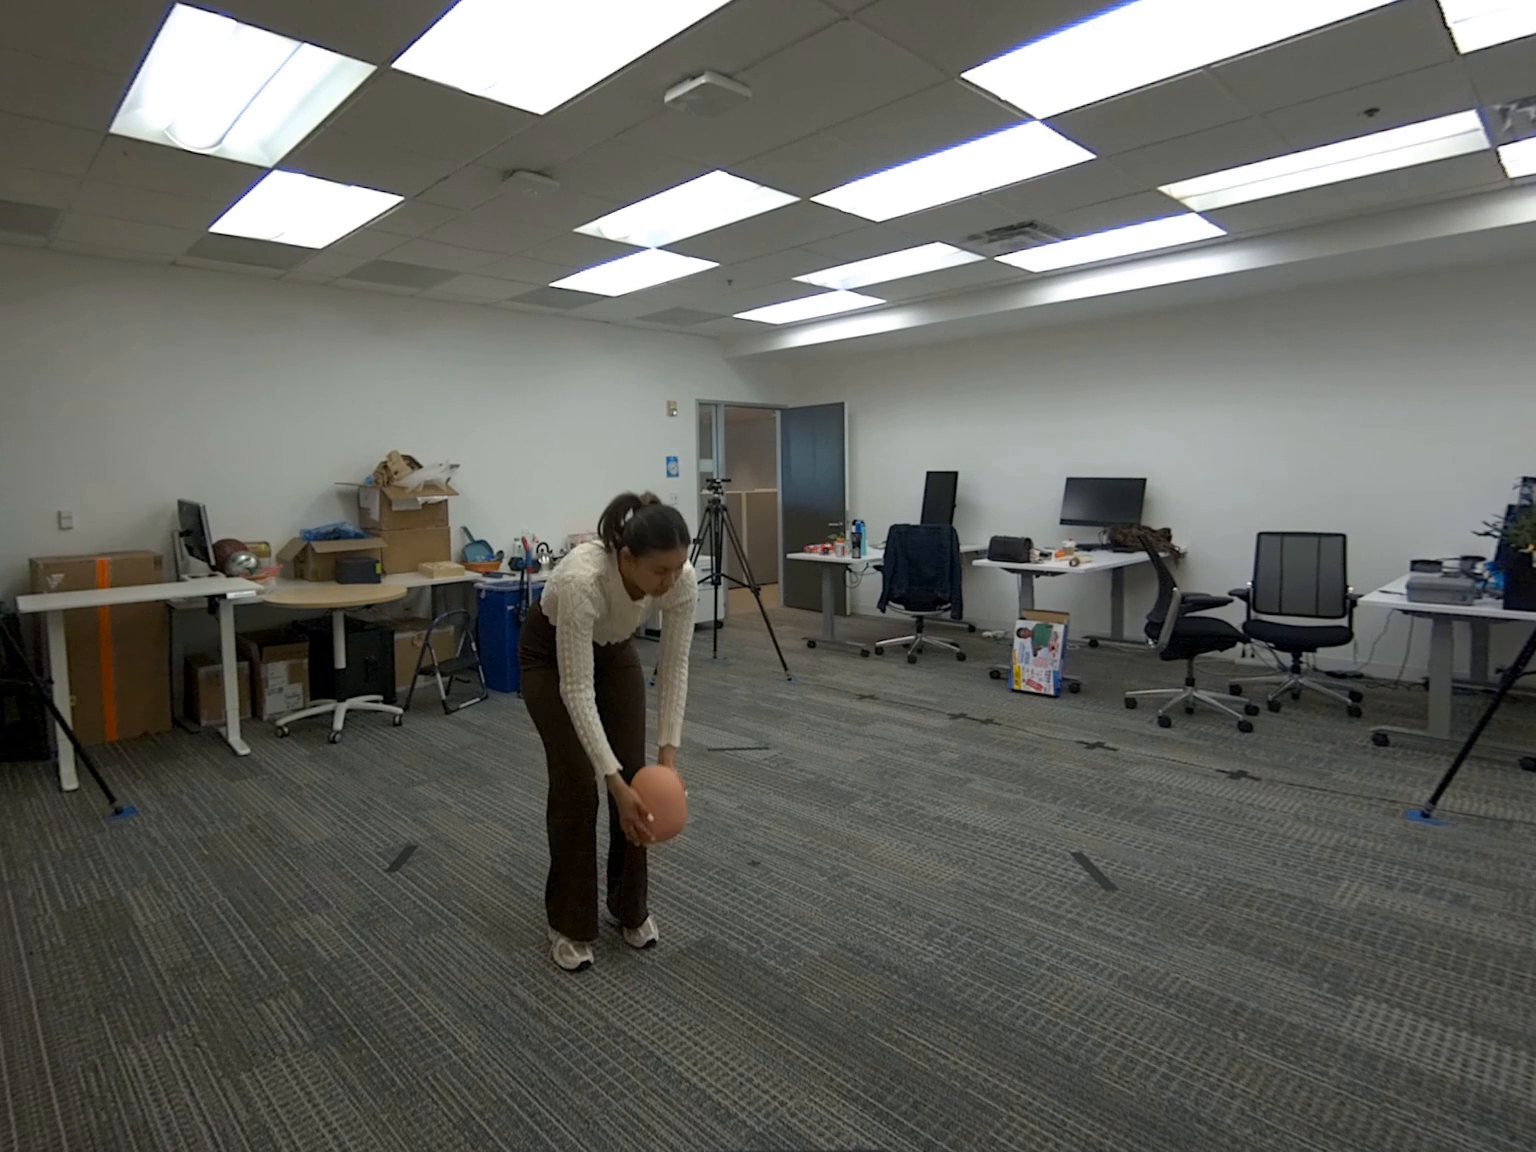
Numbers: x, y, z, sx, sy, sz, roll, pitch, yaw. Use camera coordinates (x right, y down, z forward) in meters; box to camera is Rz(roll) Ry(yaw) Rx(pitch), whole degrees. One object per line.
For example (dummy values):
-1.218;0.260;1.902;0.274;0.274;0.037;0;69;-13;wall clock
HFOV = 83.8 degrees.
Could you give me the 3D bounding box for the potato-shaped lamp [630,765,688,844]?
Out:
-0.318;0.620;2.340;0.175;0.199;0.160;-16;-6;37;potato-shaped lamp
